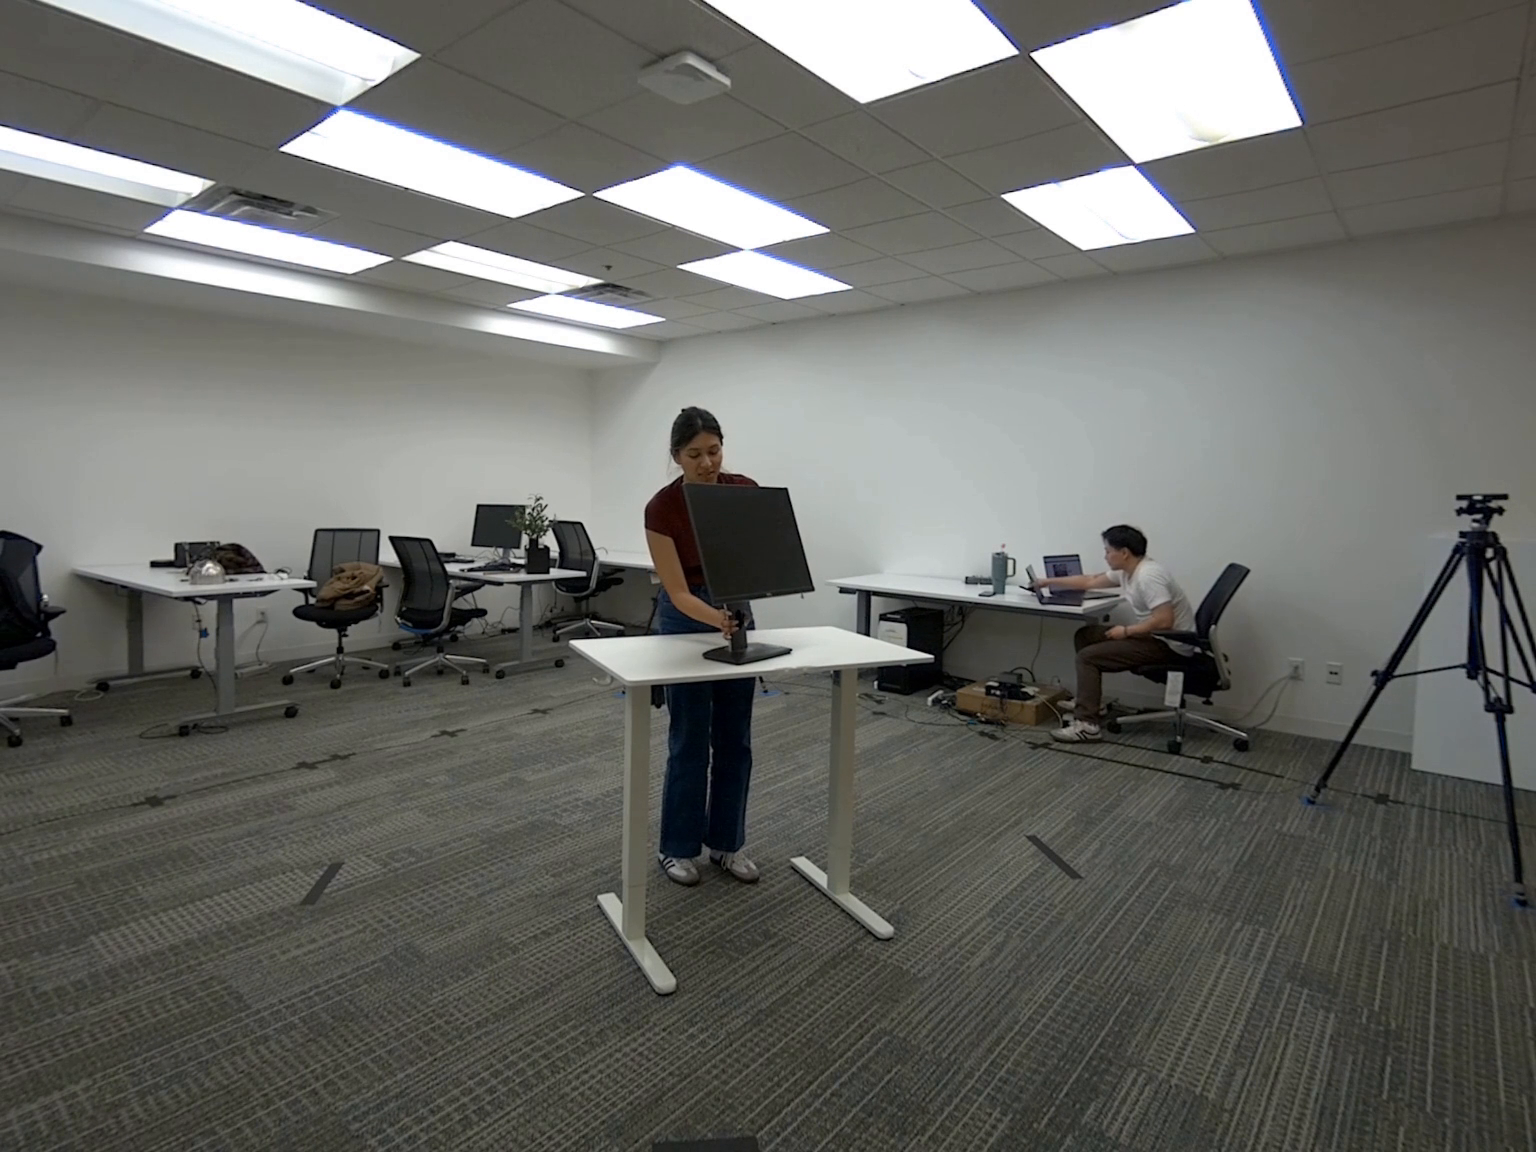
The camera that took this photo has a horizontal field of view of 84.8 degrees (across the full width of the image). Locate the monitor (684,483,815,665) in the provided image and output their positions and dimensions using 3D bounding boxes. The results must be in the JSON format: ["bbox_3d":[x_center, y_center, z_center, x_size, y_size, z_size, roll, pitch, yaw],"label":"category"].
[{"bbox_3d":[-0.069,-0.015,2.582,0.192,0.522,0.524,-1,1,33],"label":"monitor"}]
